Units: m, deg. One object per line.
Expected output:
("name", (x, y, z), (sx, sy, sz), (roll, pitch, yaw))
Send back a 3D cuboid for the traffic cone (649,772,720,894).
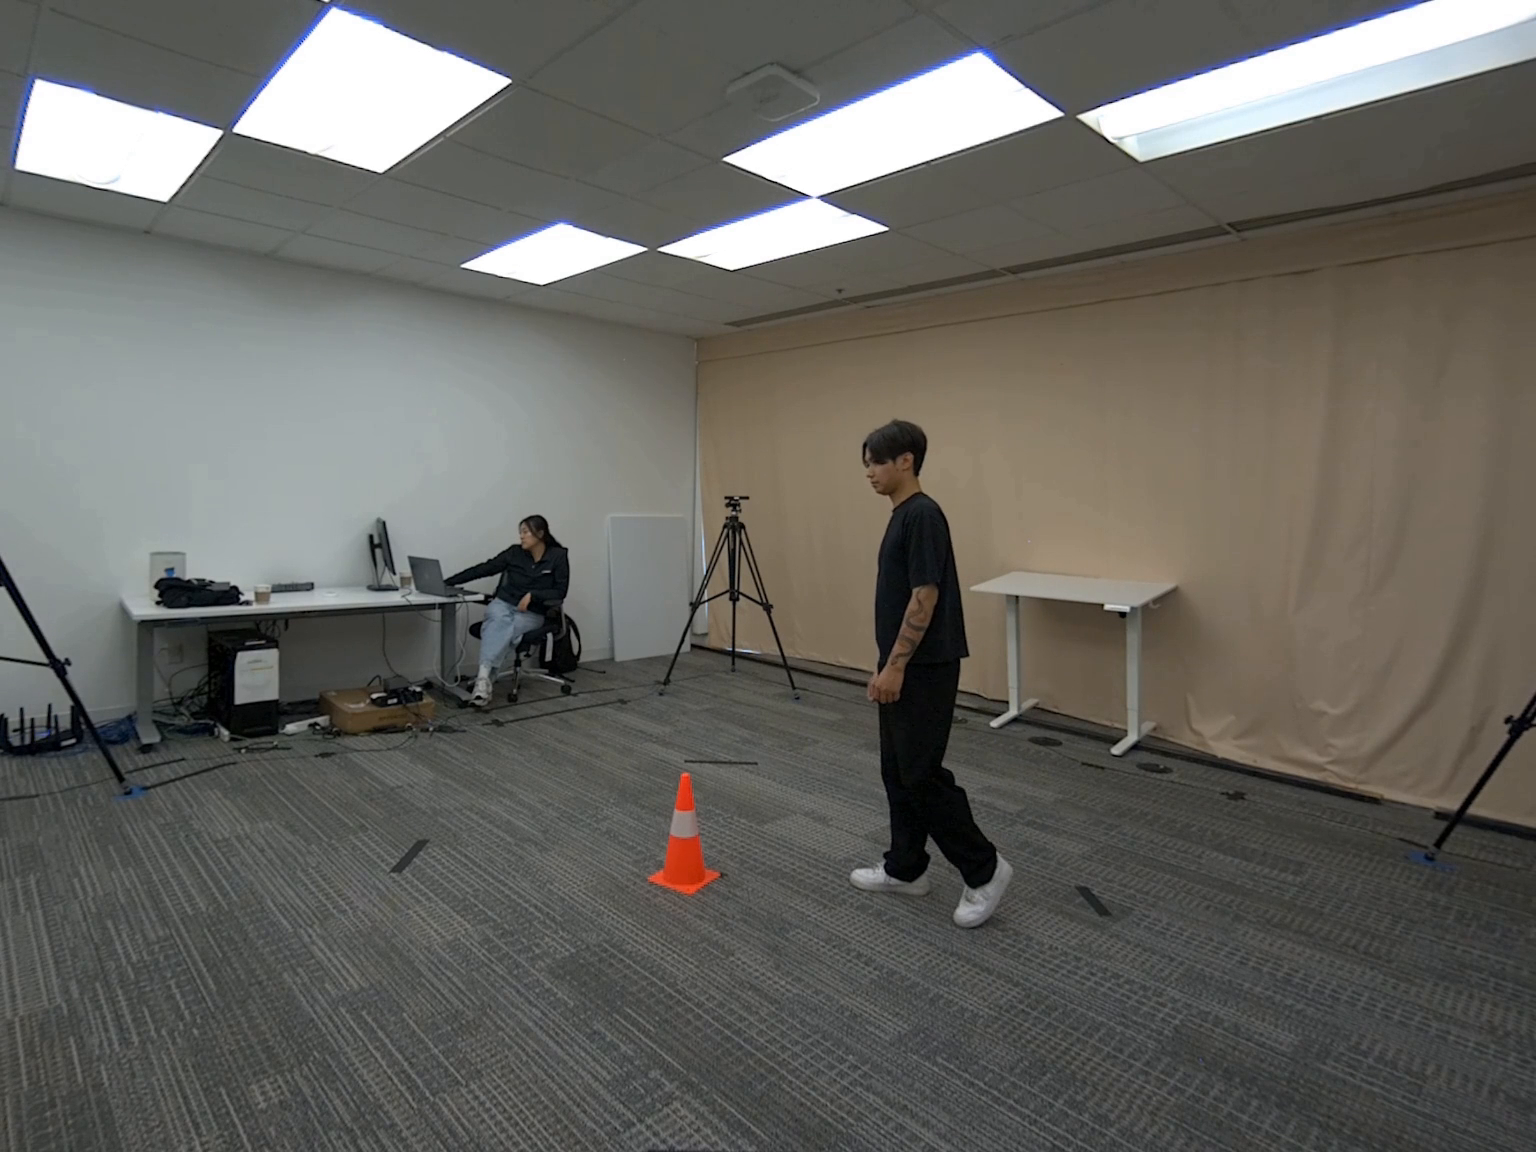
("traffic cone", (-0.300, 0.917, 3.075), (0.208, 0.383, 0.201), (4, 3, 29))
